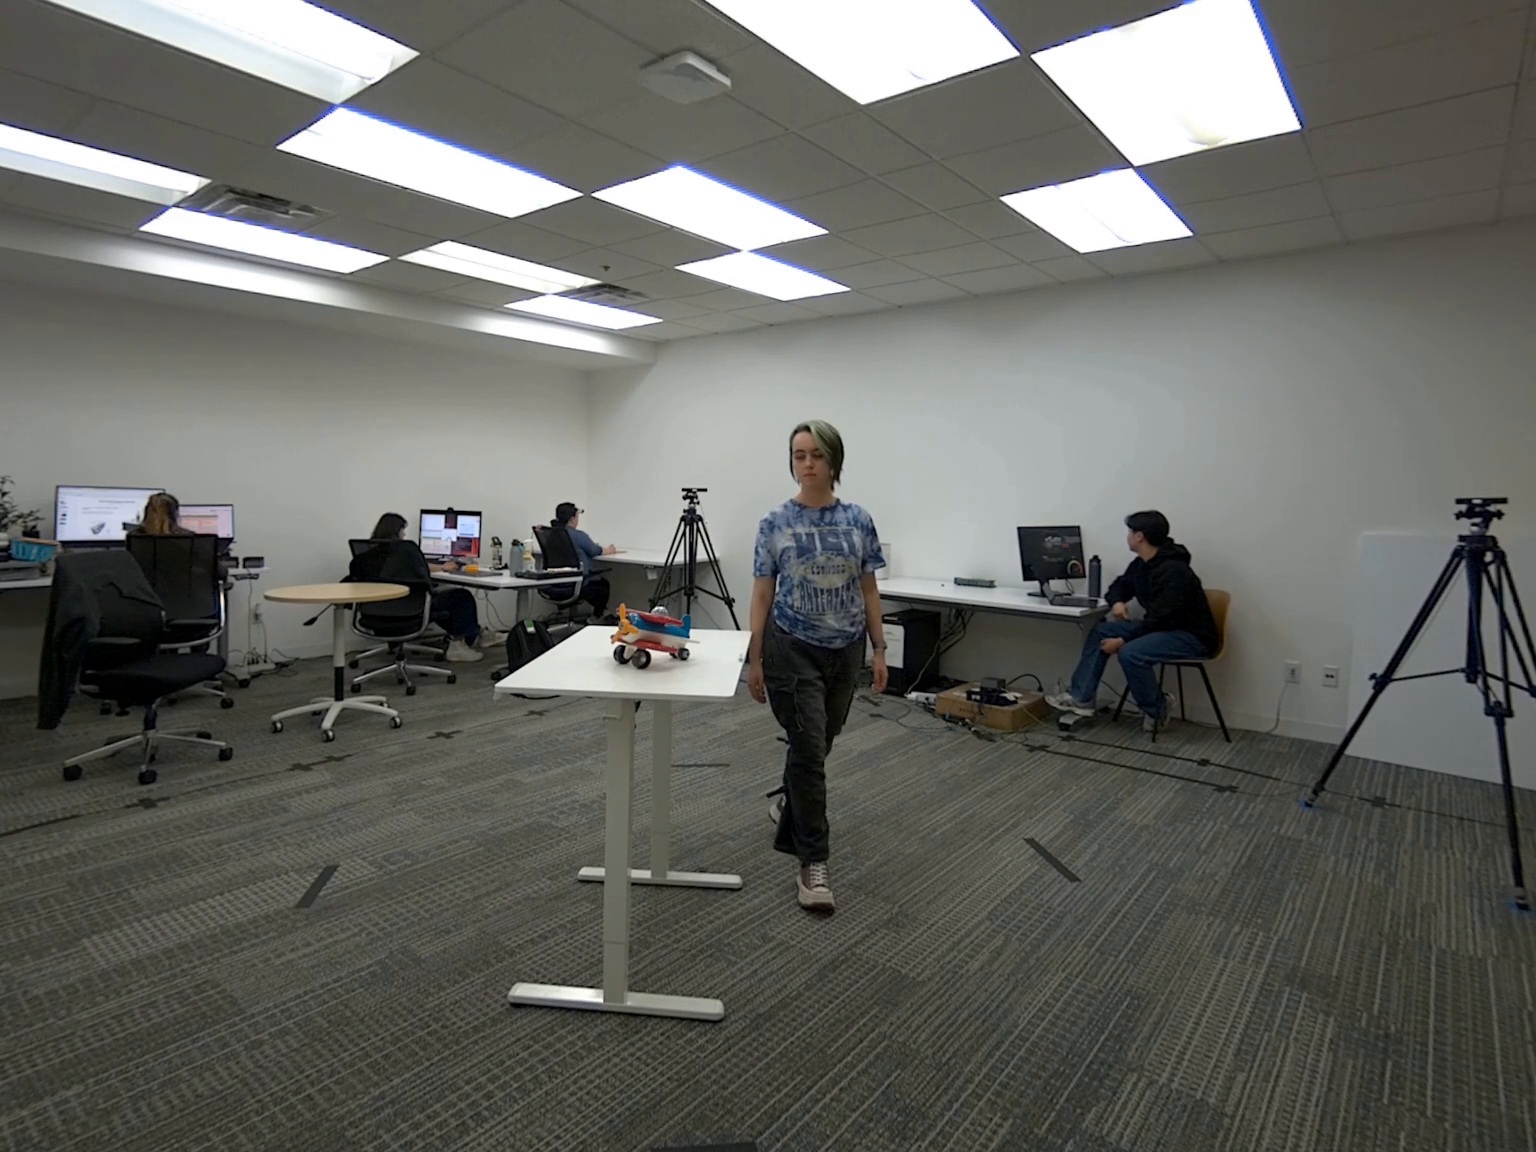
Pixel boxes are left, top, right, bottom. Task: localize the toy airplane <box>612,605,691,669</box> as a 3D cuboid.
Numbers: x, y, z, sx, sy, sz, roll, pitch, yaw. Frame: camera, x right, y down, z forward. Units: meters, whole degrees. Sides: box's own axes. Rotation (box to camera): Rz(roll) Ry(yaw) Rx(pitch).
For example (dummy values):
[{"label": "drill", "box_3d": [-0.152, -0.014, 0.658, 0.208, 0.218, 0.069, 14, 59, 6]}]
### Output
[{"label": "toy airplane", "box_3d": [-0.353, 0.173, 2.471, 0.256, 0.156, 0.255, 3, 5, 17]}]
